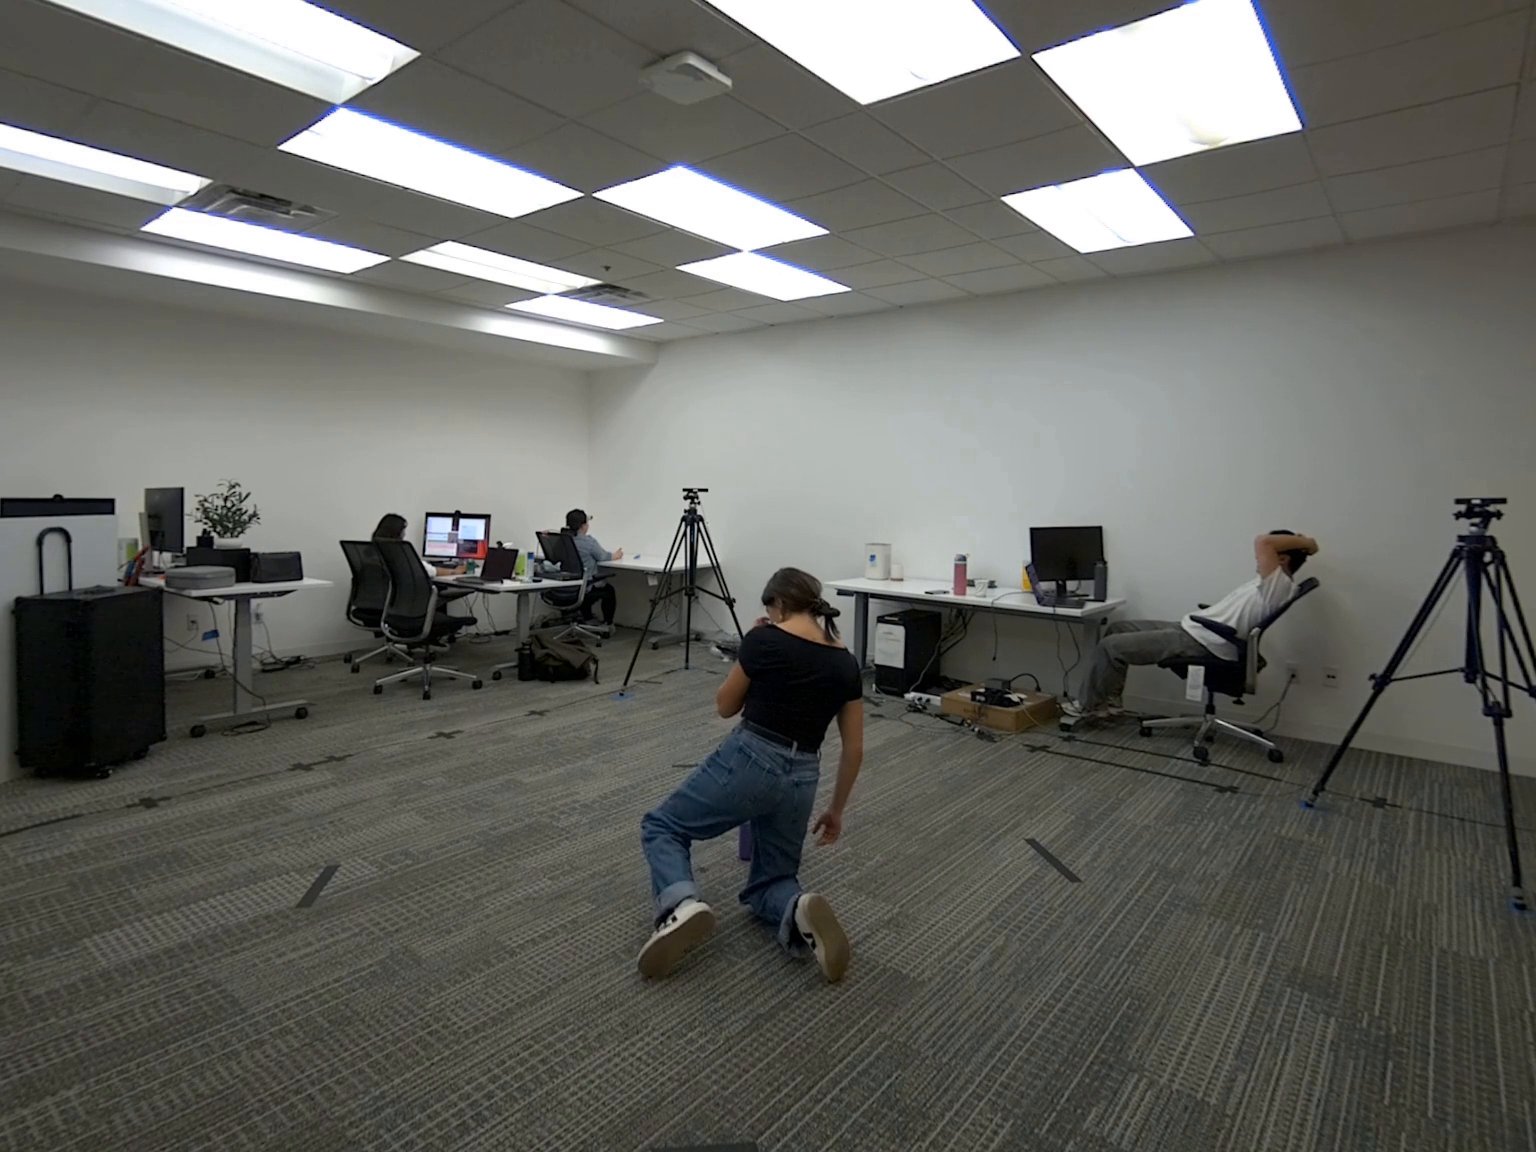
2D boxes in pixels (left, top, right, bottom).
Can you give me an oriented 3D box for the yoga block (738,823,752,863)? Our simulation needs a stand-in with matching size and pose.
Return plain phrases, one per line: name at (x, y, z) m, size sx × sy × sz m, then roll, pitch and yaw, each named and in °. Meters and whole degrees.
yoga block at (0.017, 0.978, 3.222) m, size 0.229 × 0.149 × 0.077 m, roll 0°, pitch 2°, yaw -2°
